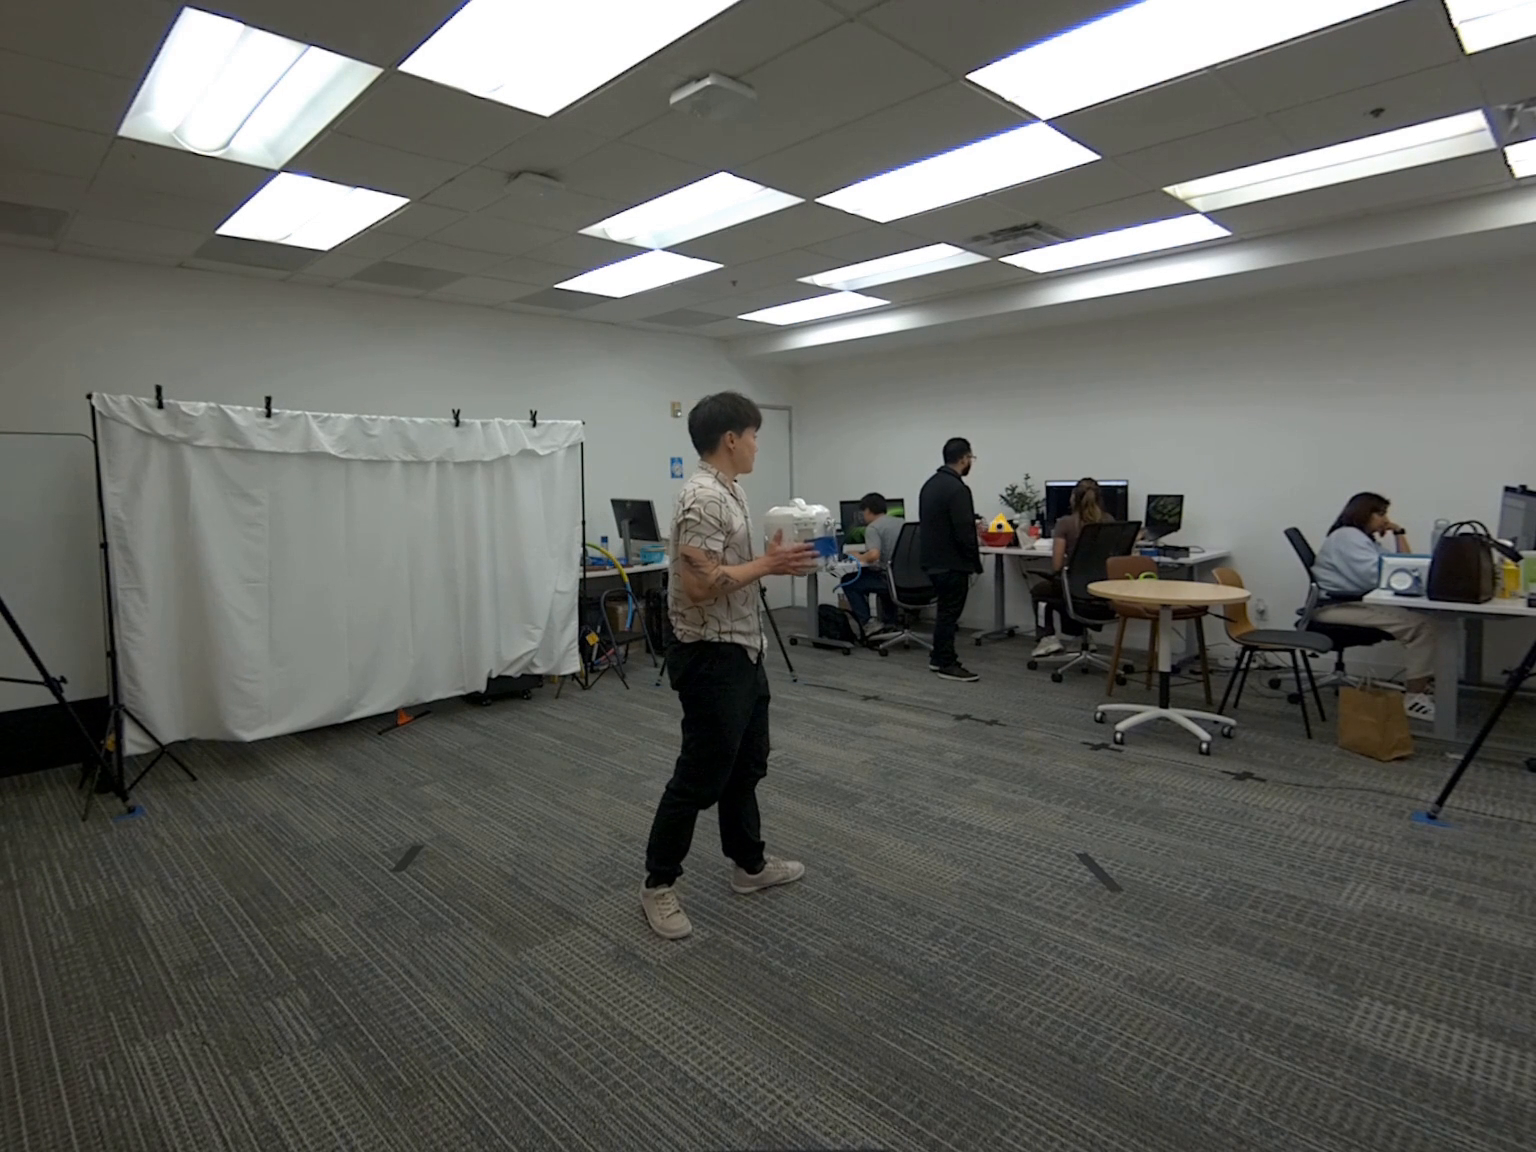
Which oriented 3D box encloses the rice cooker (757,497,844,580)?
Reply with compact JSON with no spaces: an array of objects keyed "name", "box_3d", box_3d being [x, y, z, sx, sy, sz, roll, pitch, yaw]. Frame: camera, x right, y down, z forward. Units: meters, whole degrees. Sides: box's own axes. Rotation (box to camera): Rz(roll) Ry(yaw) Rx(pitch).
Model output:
[{"name":"rice cooker","box_3d":[0.096,-0.126,2.696,0.216,0.232,0.223,-4,5,-7]}]
